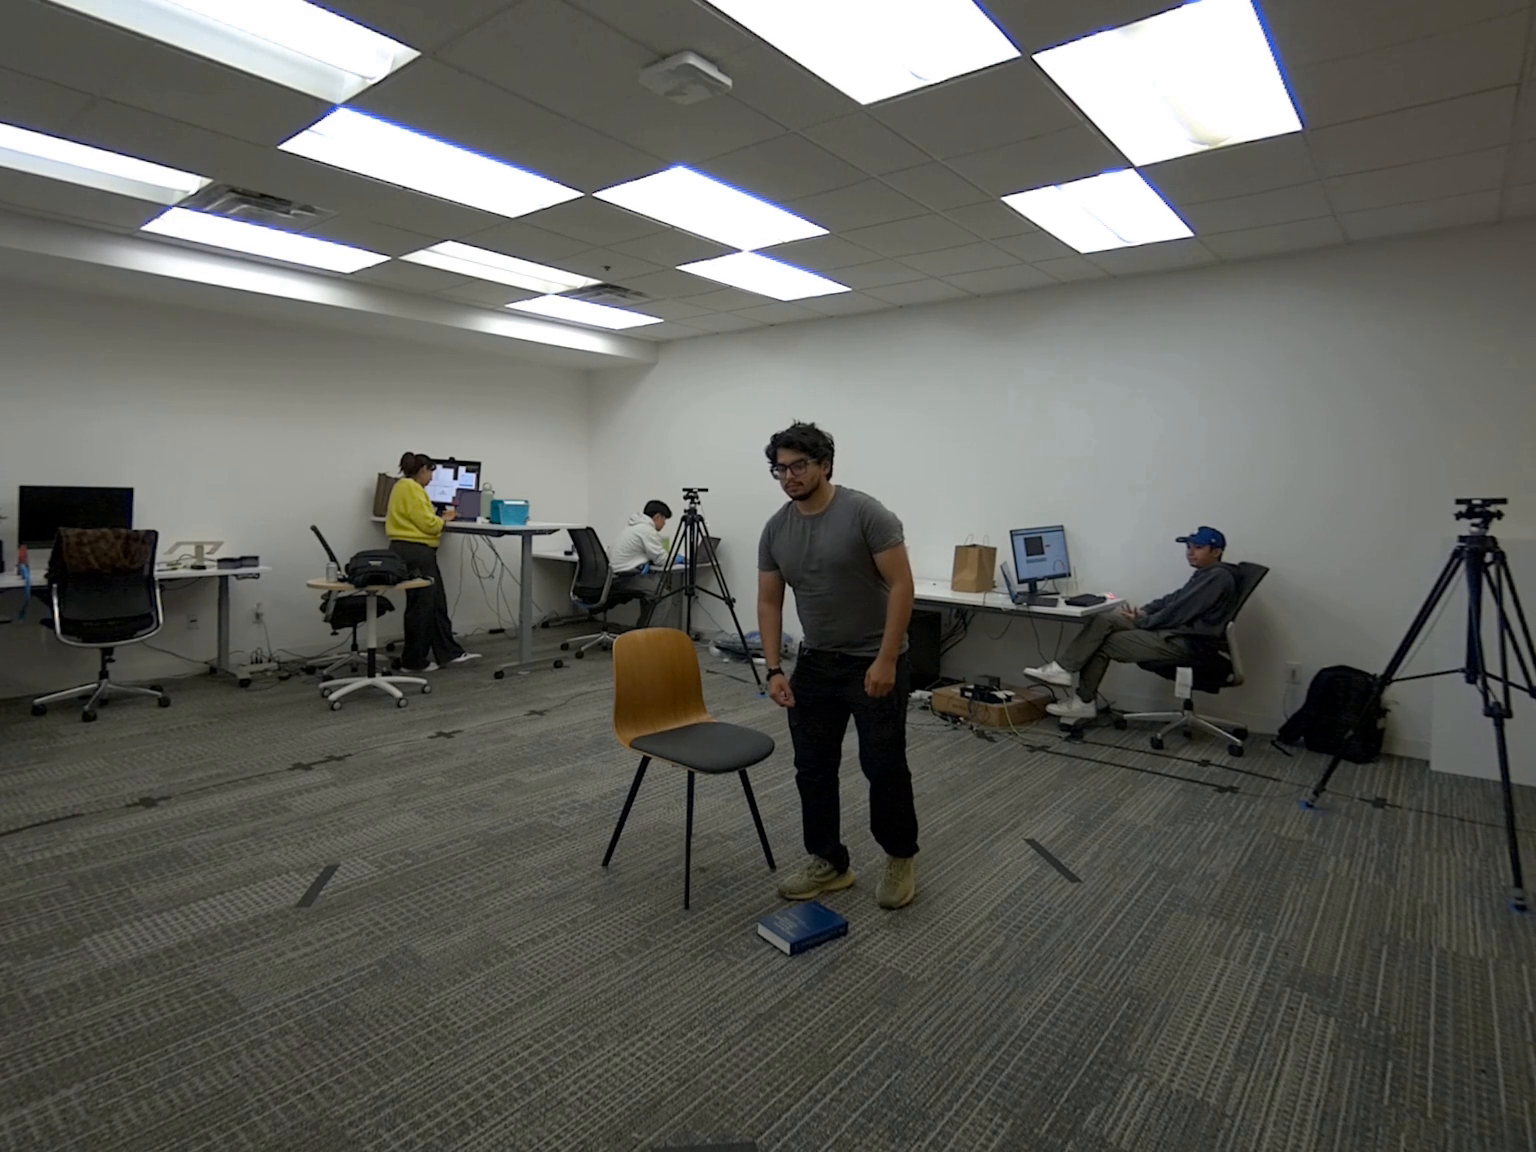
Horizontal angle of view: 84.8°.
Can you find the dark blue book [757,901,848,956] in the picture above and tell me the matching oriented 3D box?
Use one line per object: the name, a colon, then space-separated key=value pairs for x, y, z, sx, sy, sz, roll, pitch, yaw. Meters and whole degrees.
dark blue book: x=0.103 y=1.094 z=2.668 sx=0.238 sy=0.045 sz=0.169 roll=-4 pitch=8 yaw=-38
